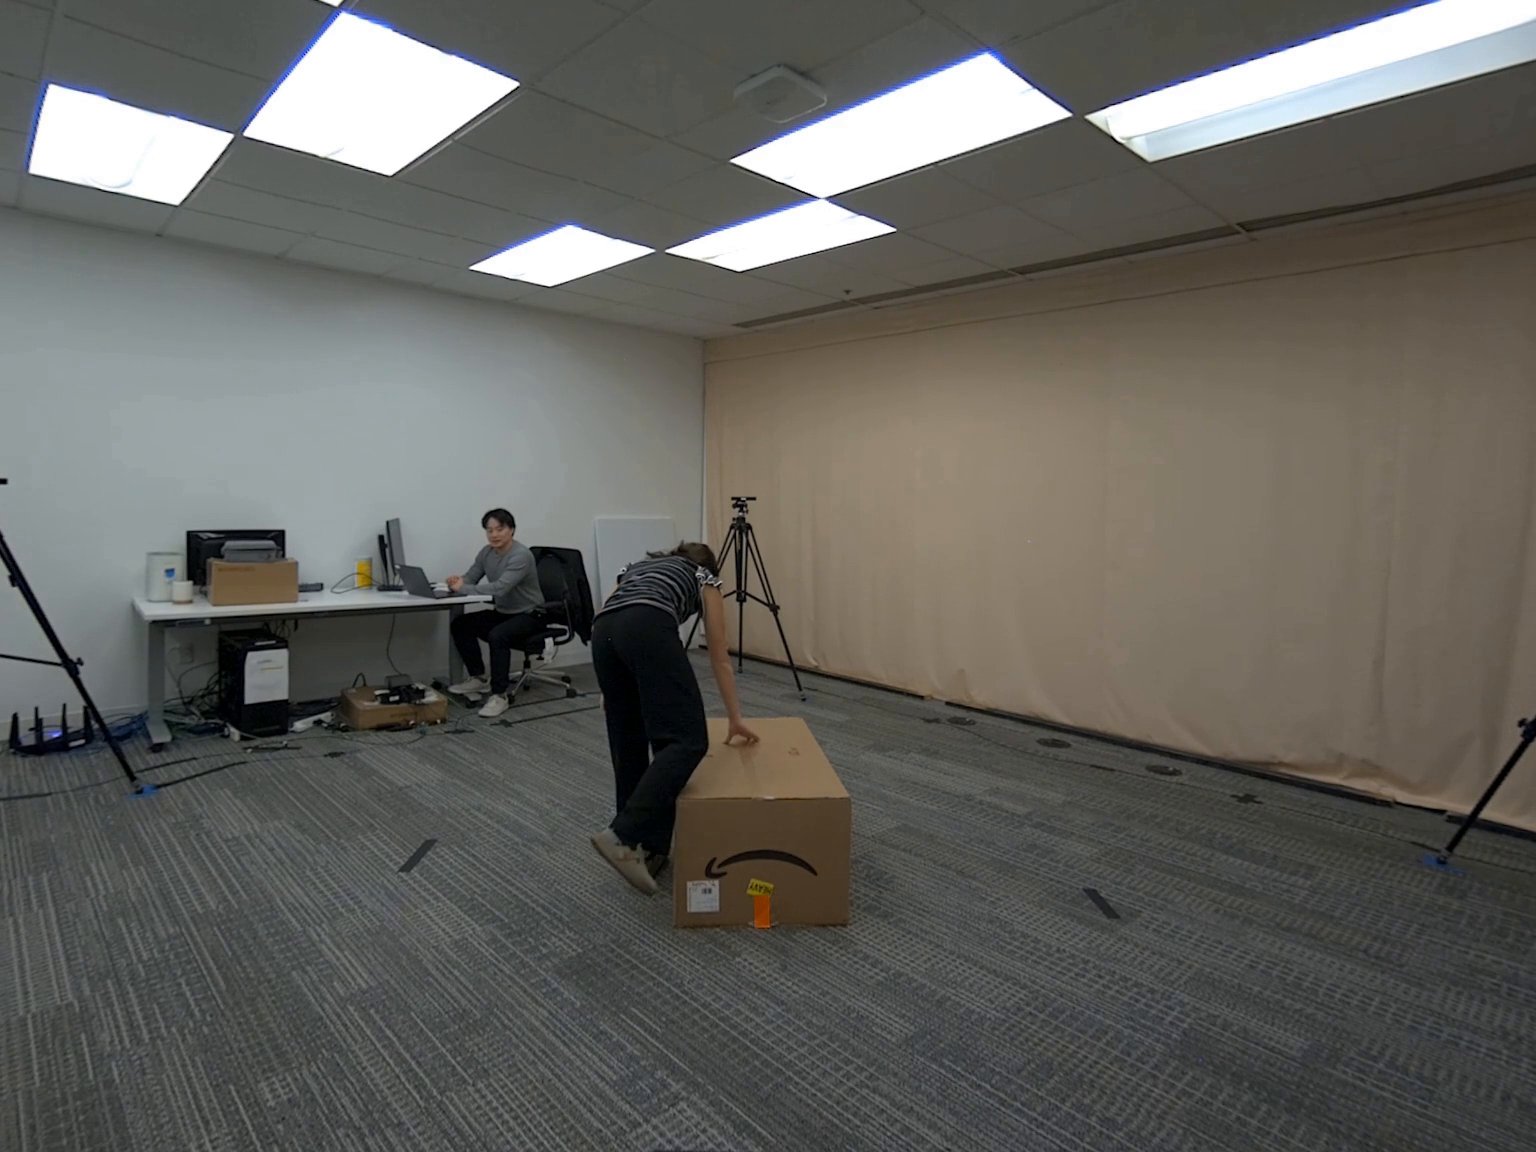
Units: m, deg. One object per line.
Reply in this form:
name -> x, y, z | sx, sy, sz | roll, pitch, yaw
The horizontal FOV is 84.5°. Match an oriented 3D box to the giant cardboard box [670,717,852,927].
giant cardboard box -> -0.078, 0.885, 3.232 | 0.575, 0.425, 1.033 | 0, 5, -6
